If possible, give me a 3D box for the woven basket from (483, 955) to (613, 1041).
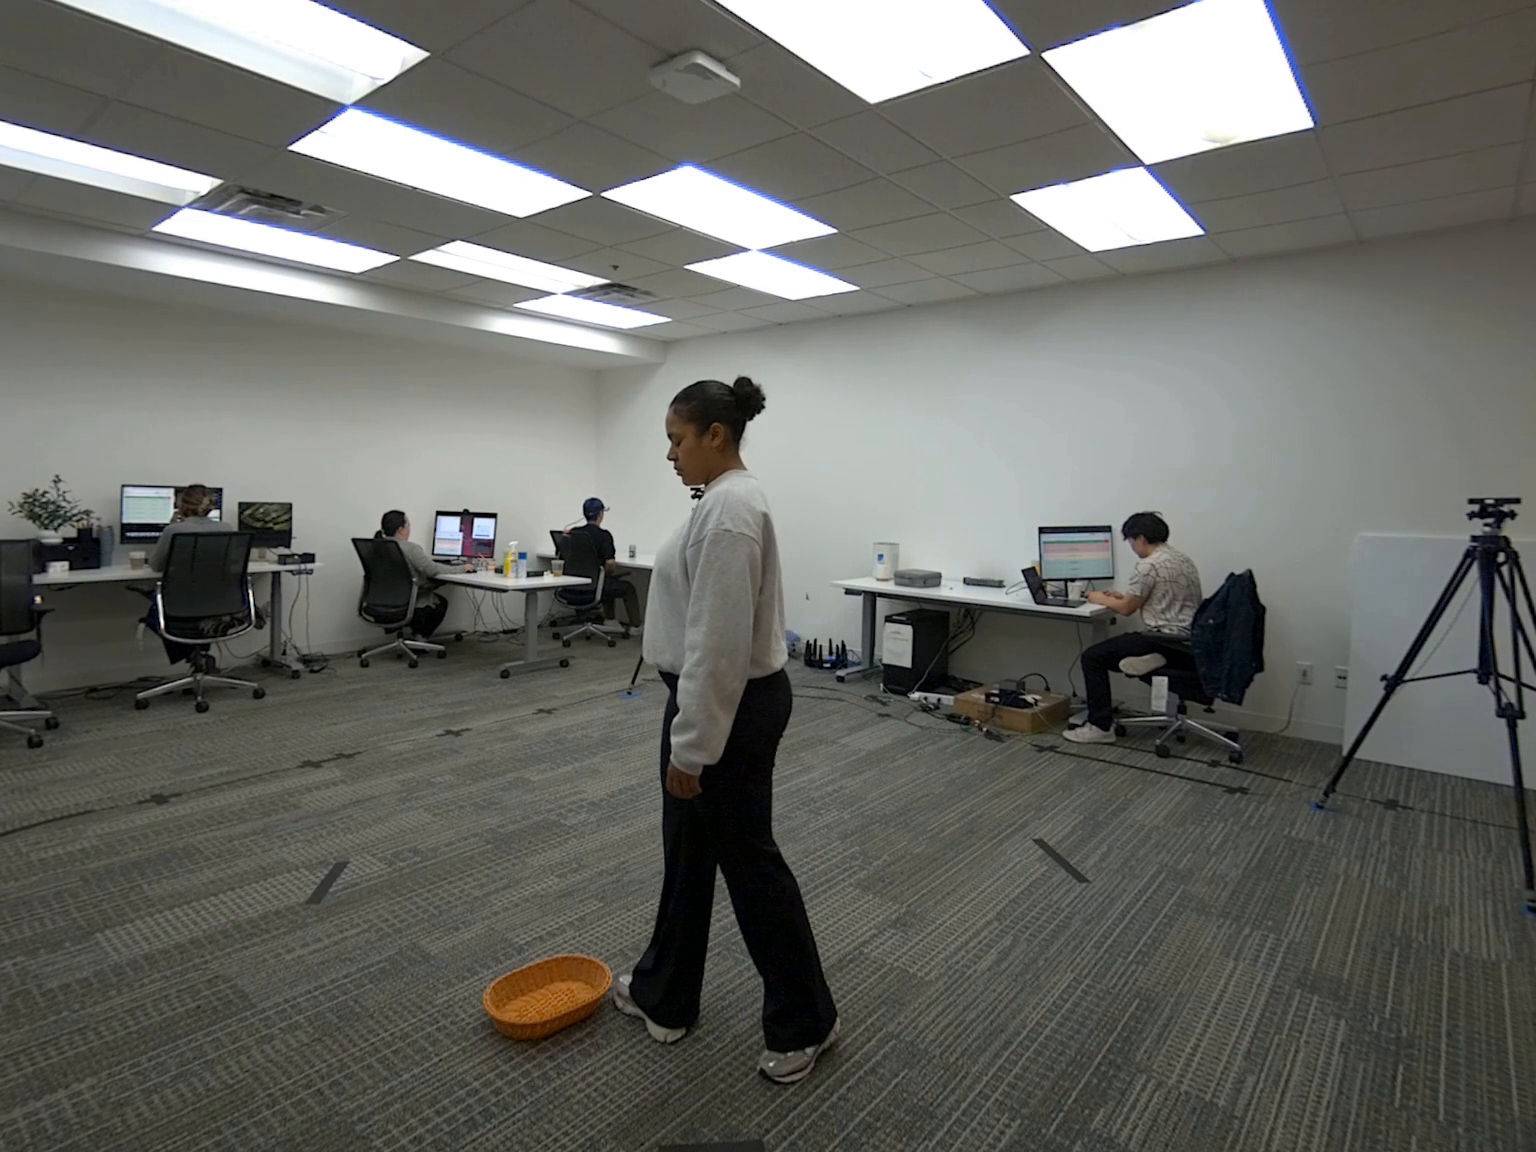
[{"bbox_3d":[-0.586,1.110,2.244,0.340,0.073,0.261,-3,7,-43],"label":"woven basket"}]
